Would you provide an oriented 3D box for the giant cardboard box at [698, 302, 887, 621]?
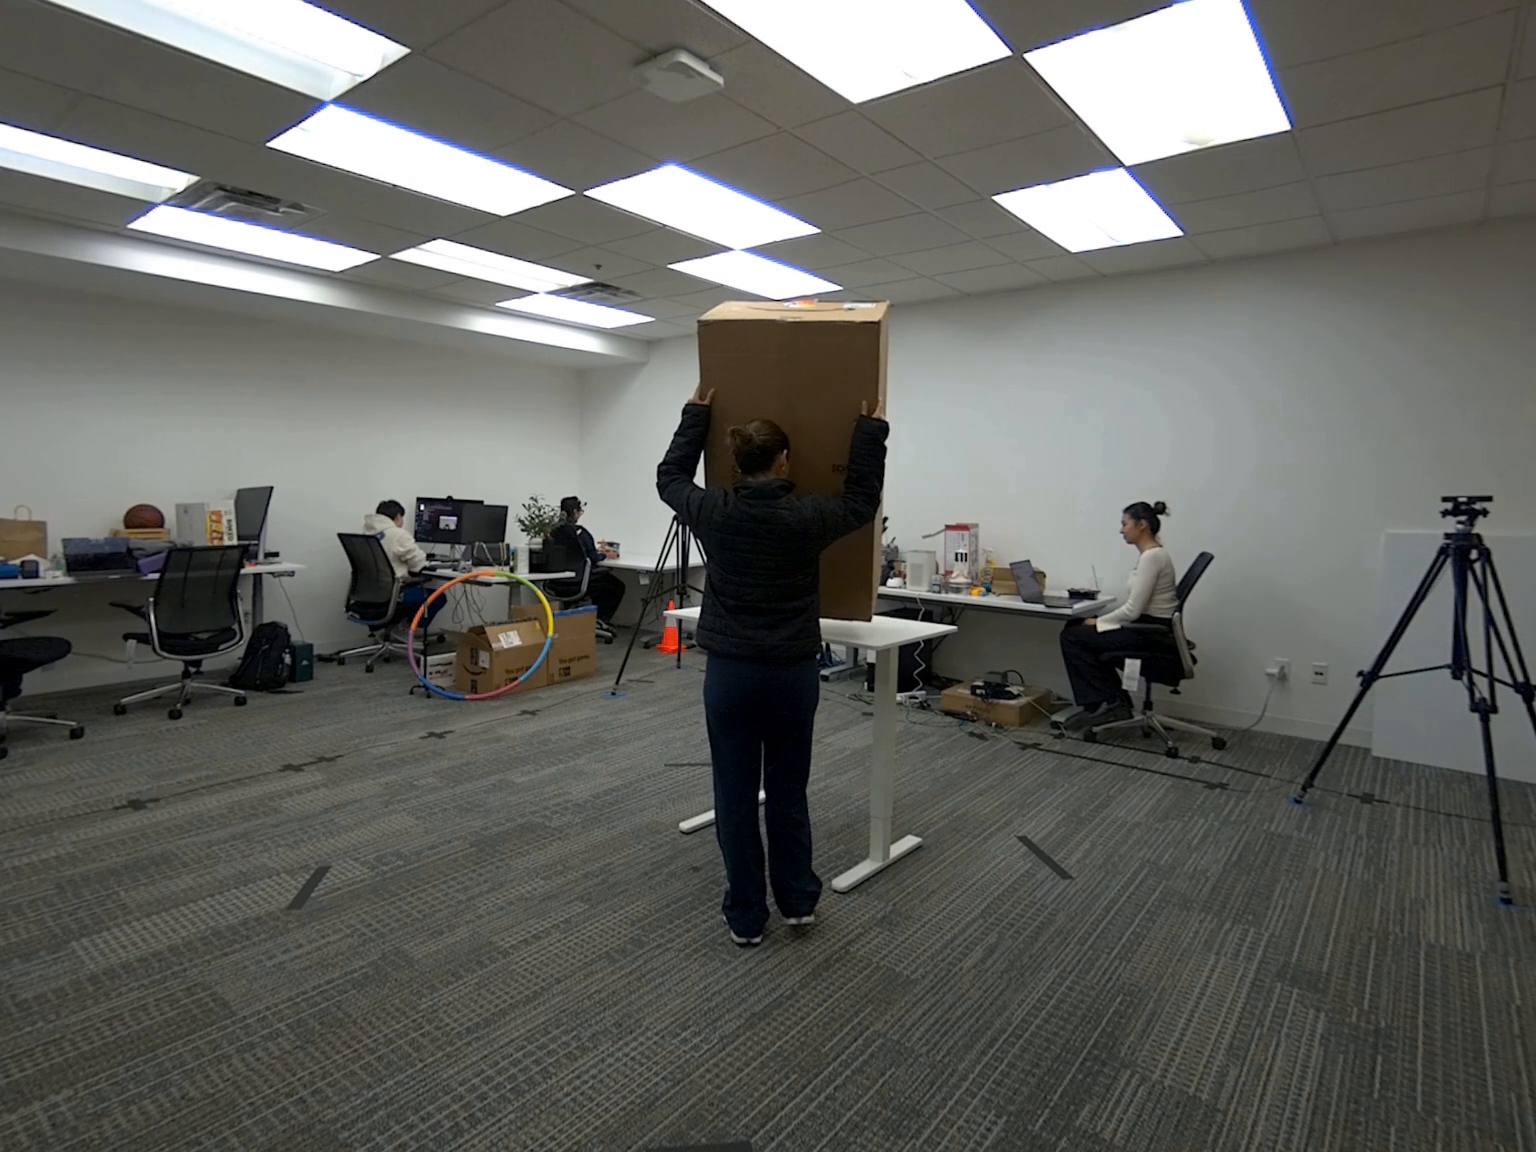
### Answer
[{"bbox_3d":[0.119,-0.412,2.981,0.594,1.005,0.449,5,24,14],"label":"giant cardboard box"}]
